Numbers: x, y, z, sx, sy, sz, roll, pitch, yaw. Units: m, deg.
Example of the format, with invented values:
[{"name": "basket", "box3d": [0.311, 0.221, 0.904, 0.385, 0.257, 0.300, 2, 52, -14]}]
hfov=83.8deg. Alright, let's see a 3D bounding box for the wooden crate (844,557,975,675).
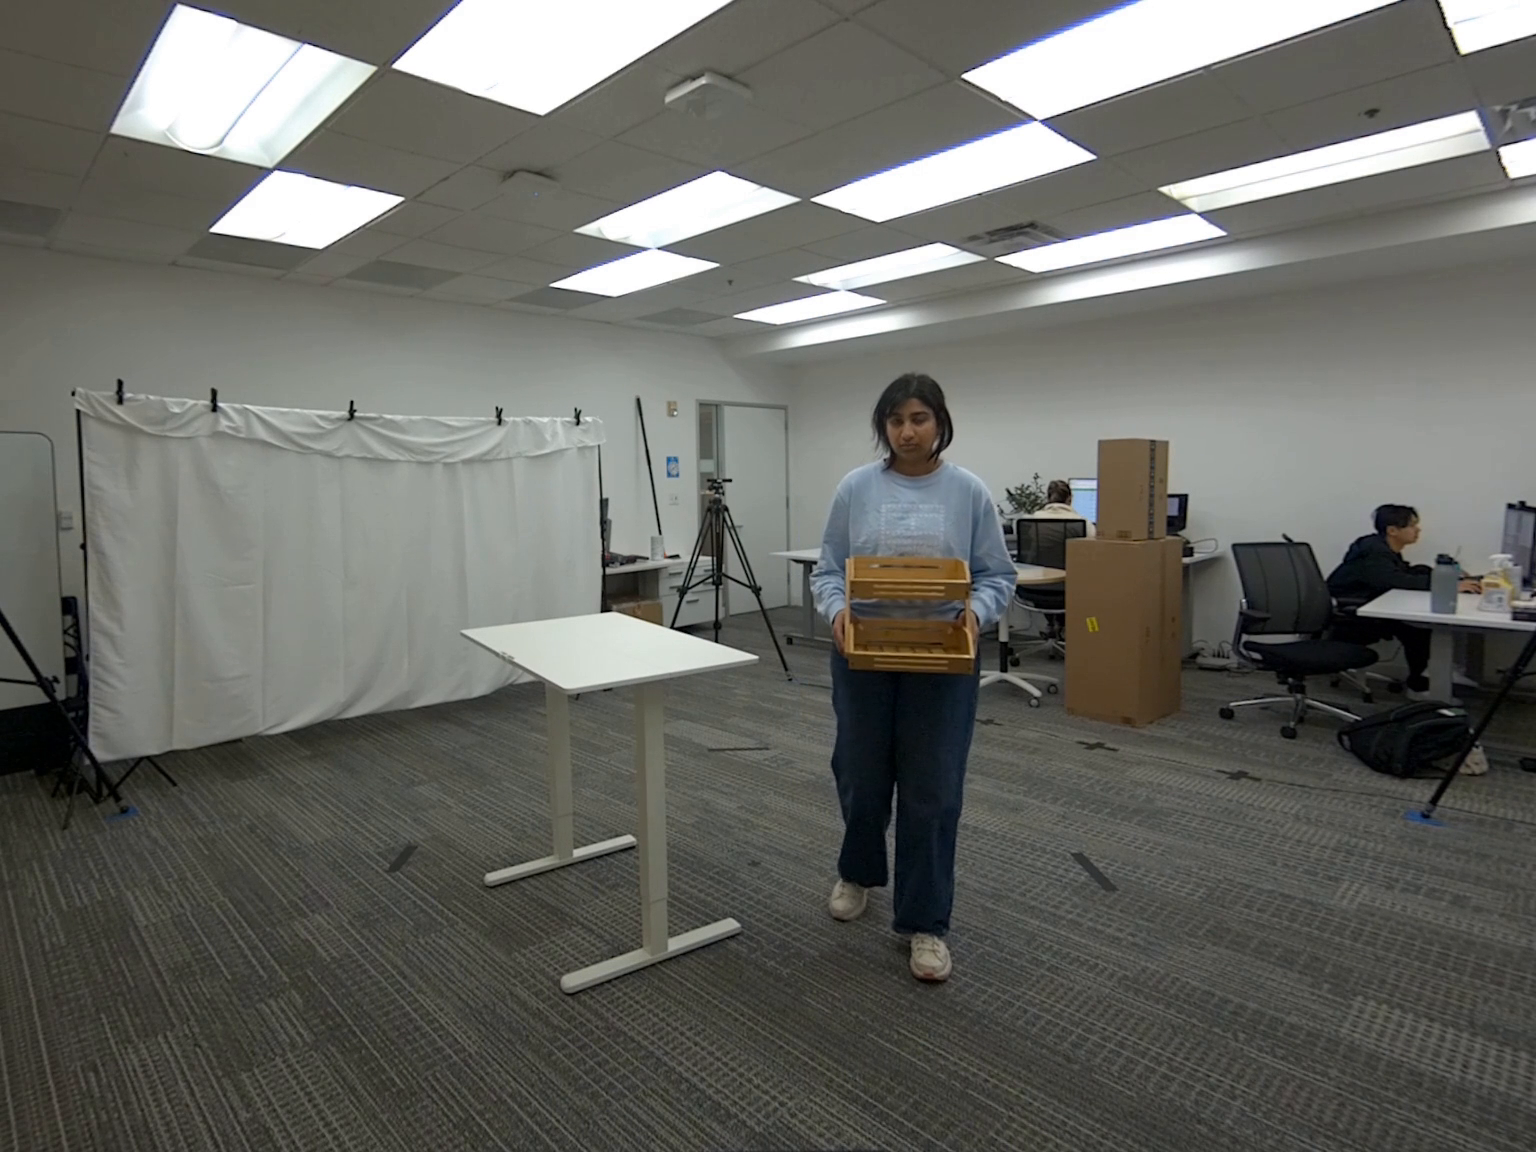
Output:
[{"name": "wooden crate", "box3d": [0.371, 0.094, 2.239, 0.327, 0.272, 0.300, 2, 4, 8]}]
